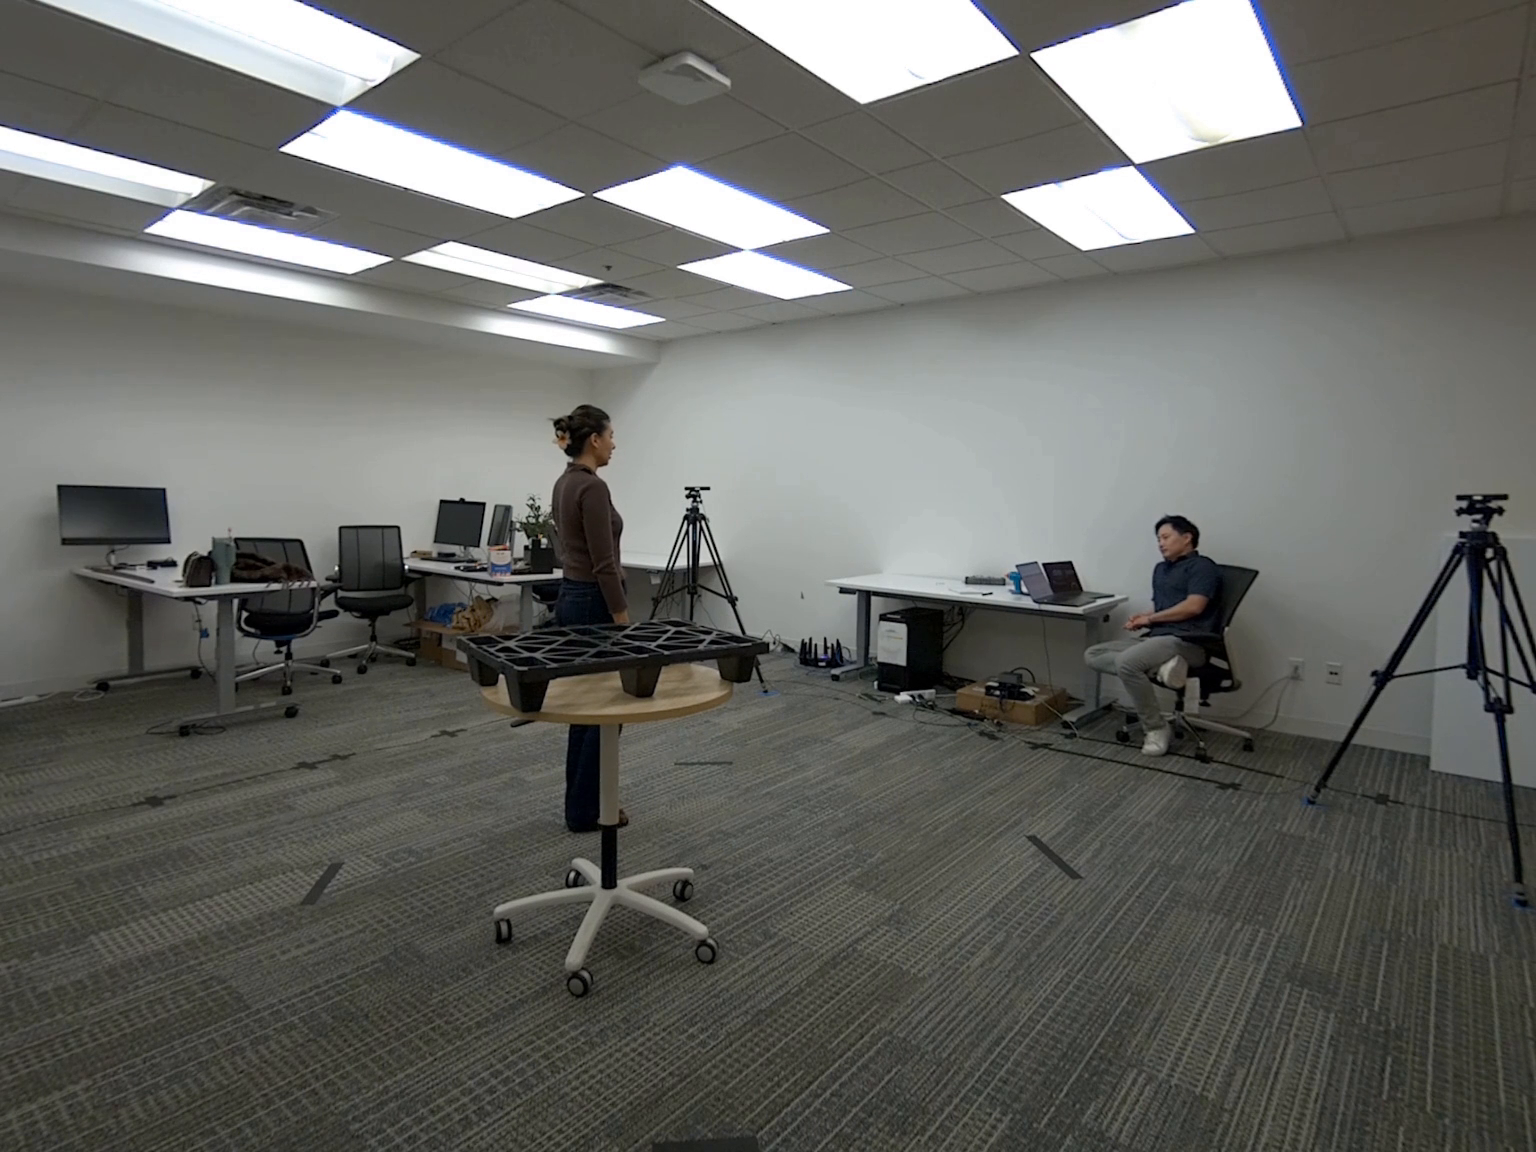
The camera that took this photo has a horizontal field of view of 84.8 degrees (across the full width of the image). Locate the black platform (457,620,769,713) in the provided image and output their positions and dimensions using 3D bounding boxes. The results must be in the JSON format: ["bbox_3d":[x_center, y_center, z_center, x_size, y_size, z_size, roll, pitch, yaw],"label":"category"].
[{"bbox_3d":[-0.496,0.265,2.624,0.783,0.143,0.624,-4,6,-34],"label":"black platform"}]
